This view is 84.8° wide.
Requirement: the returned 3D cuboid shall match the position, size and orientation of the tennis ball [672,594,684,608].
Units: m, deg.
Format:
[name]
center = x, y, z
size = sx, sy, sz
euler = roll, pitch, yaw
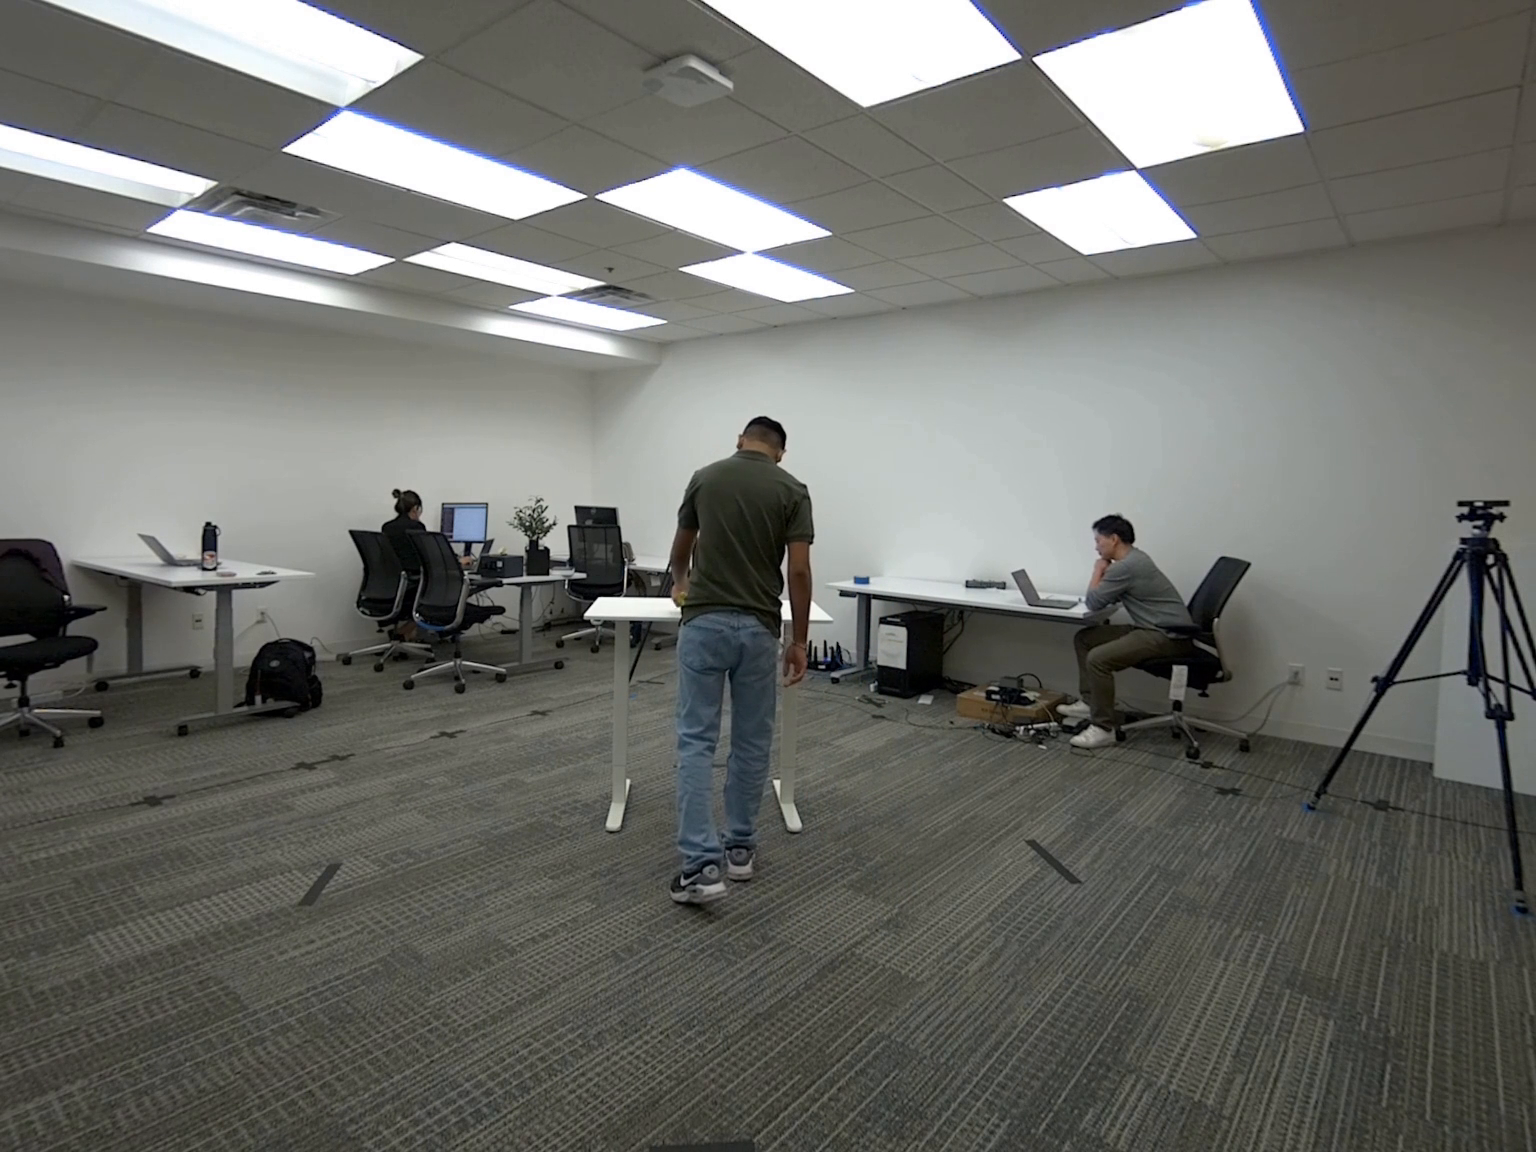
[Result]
[tennis ball]
center = -0.371, 0.101, 3.544
size = 0.066, 0.066, 0.067
euler = 1, 4, -2
